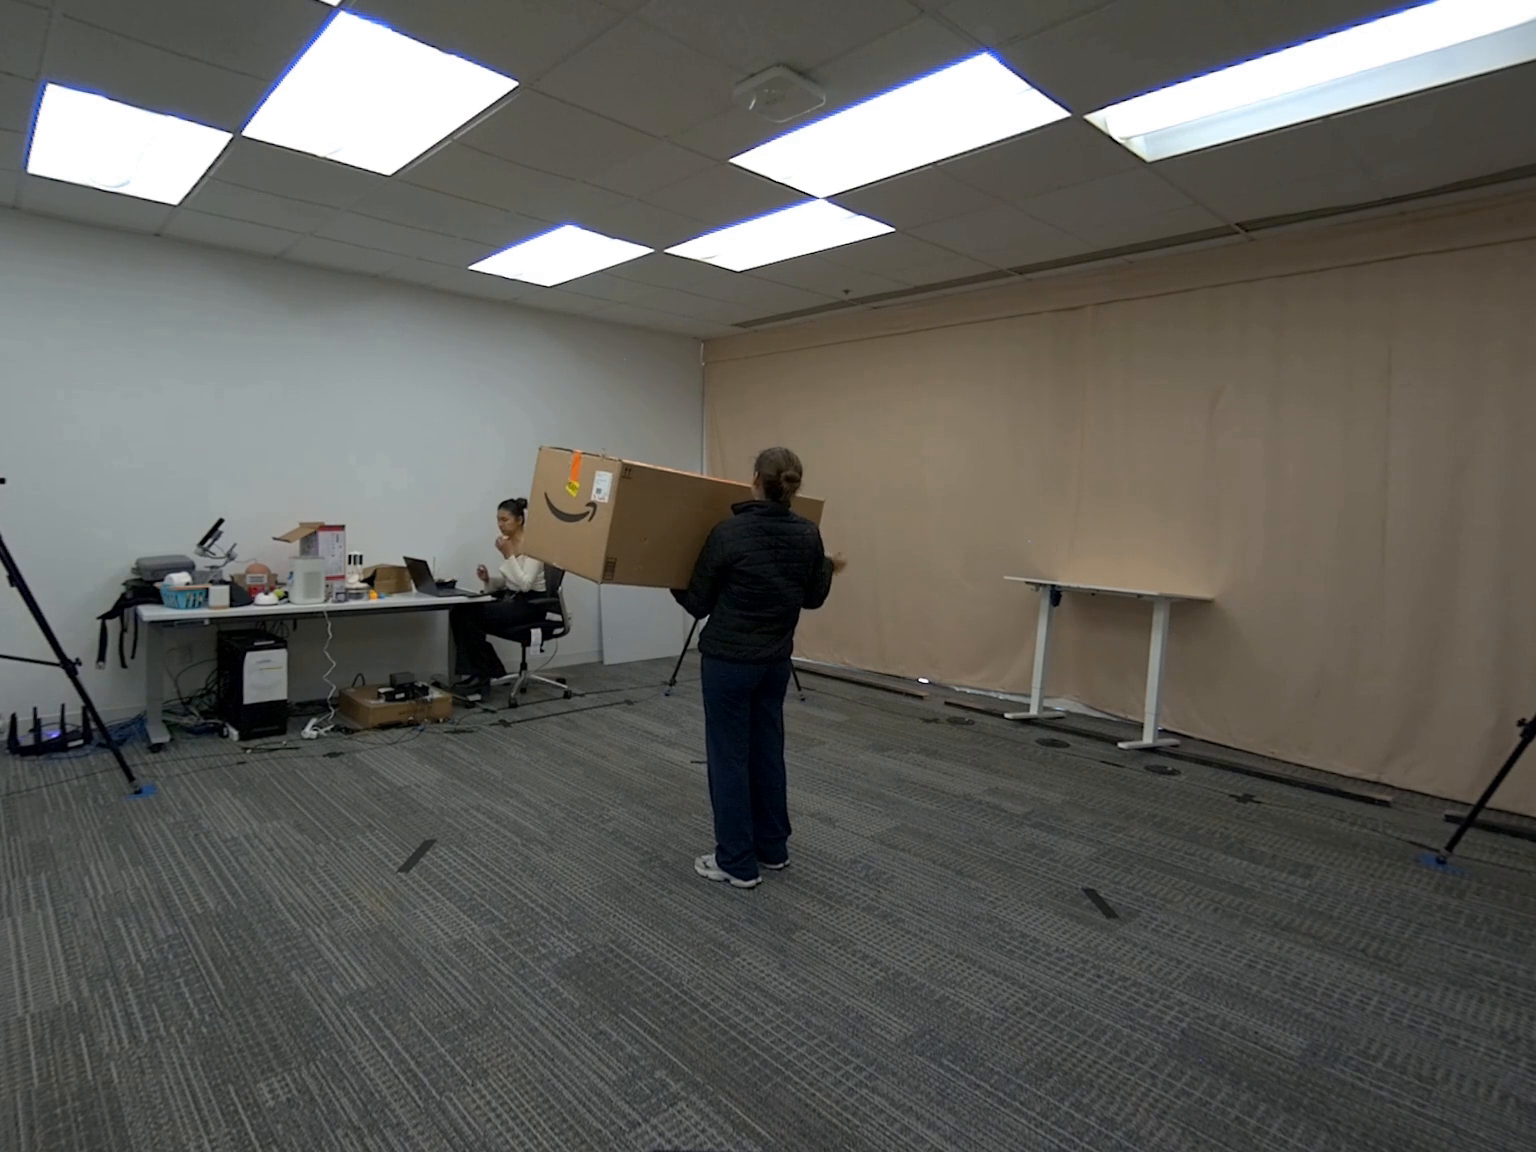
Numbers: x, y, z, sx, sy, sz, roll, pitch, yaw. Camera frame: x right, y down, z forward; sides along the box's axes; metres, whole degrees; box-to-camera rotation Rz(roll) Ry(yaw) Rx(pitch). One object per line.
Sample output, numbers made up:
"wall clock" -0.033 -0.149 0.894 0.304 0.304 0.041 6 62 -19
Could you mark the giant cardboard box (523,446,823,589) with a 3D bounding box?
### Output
"giant cardboard box" -0.359 -0.200 3.349 0.999 0.425 0.594 5 7 -44
